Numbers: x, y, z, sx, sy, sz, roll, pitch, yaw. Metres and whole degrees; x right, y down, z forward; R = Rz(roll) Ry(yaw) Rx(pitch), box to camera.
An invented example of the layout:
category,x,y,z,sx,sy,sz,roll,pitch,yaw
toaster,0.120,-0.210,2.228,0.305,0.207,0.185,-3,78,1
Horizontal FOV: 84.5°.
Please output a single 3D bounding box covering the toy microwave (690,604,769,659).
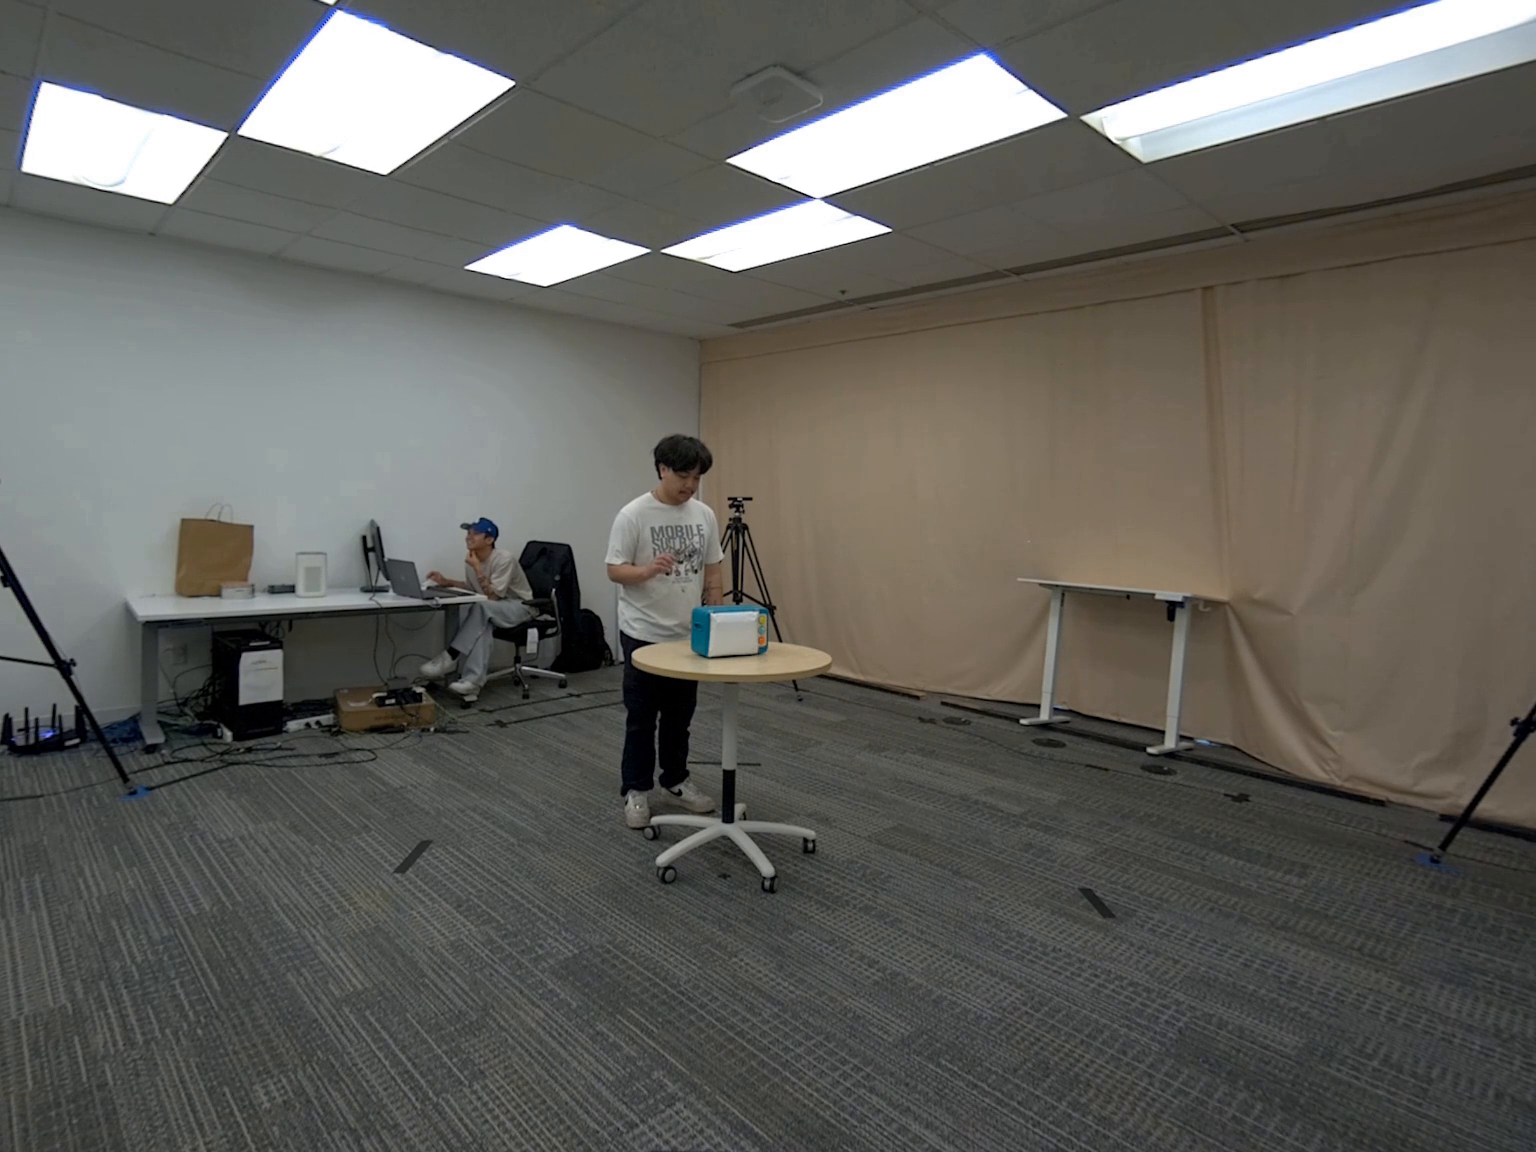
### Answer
category,x,y,z,sx,sy,sz,roll,pitch,yaw
toy microwave,-0.148,0.211,3.237,0.280,0.184,0.156,-1,4,-30
